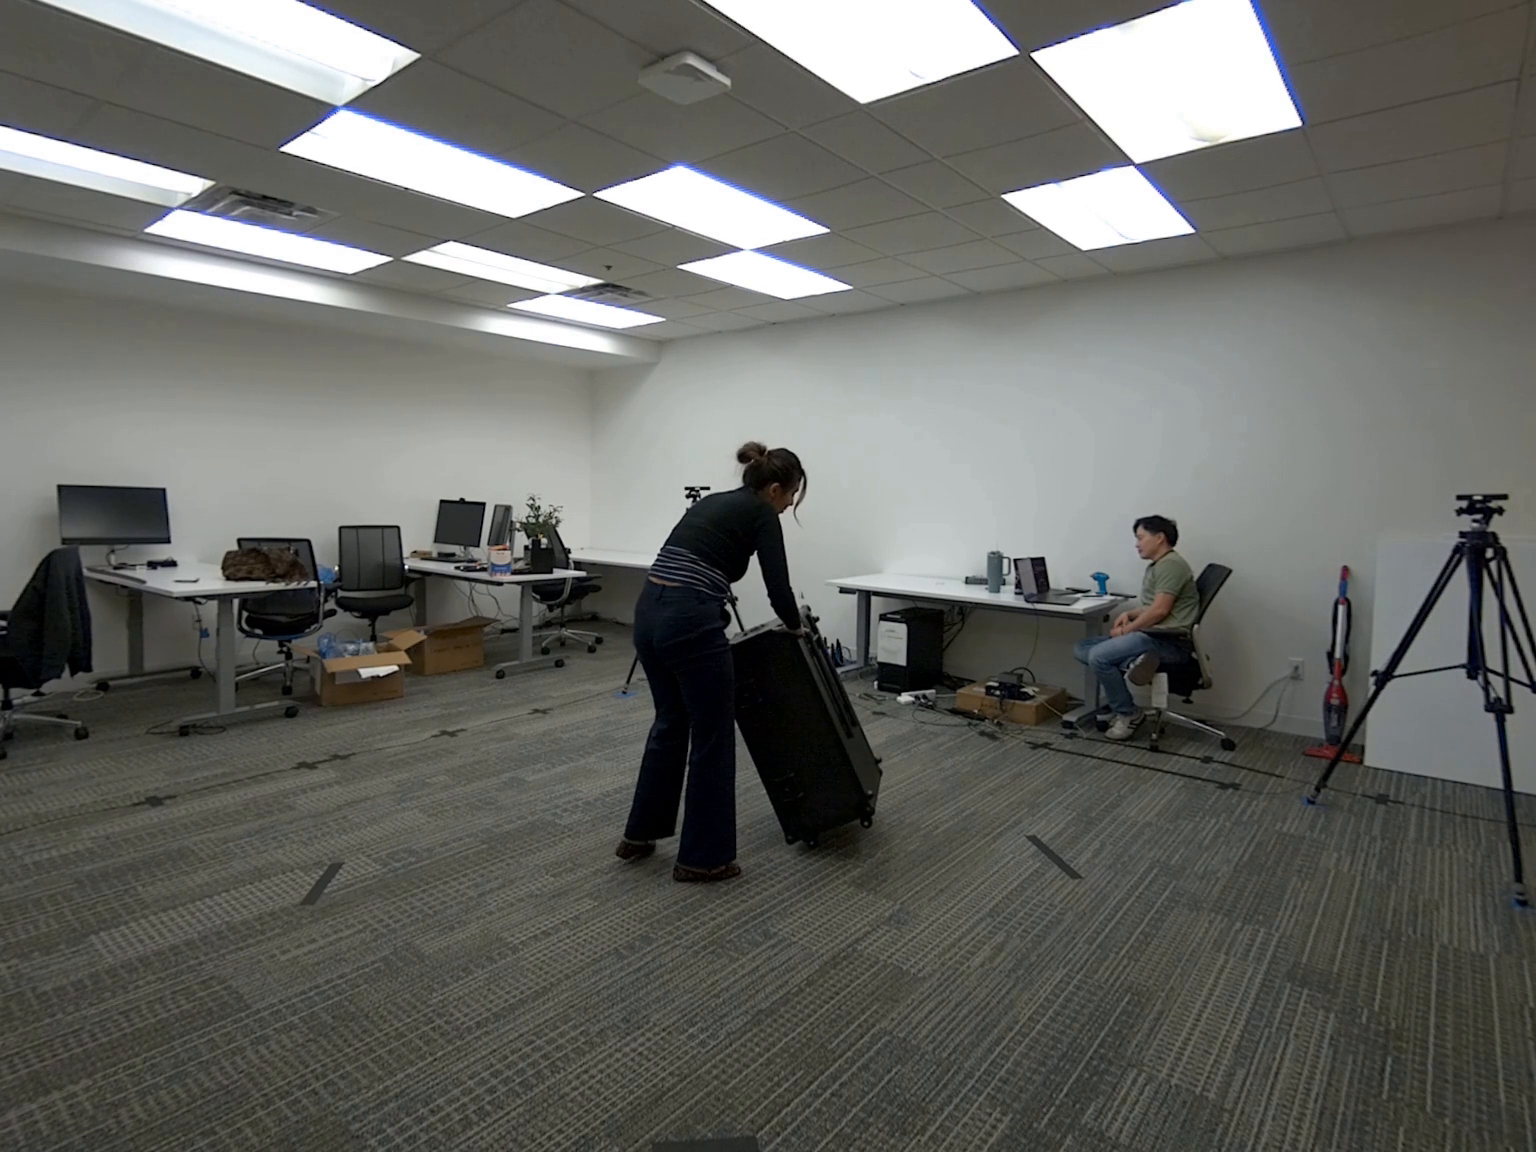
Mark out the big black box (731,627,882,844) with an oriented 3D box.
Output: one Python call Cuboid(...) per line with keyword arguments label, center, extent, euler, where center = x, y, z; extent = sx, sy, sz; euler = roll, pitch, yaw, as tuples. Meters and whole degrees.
Cuboid(label="big black box", center=(0.143, 0.598, 3.448), extent=(0.399, 0.865, 0.515), euler=(-24, -2, 14))
